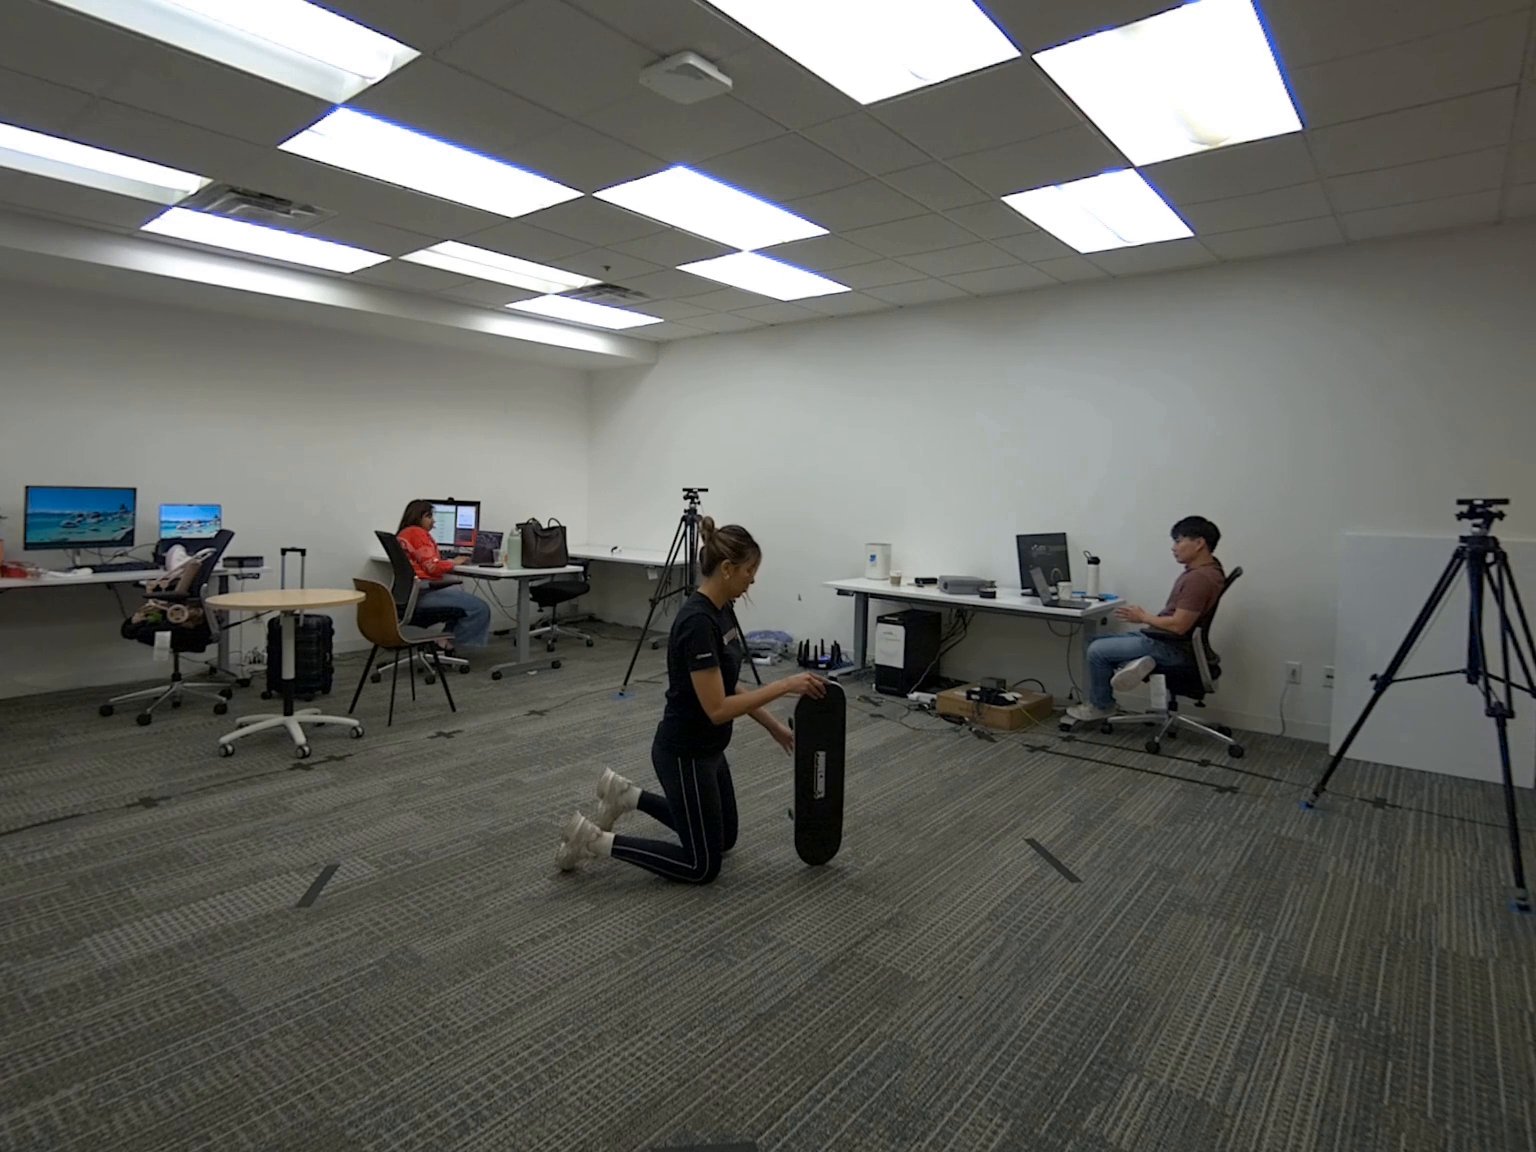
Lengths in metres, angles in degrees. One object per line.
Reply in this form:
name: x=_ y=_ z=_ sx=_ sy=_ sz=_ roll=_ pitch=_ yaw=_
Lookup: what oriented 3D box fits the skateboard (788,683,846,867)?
skateboard: x=0.165 y=0.700 z=3.059 sx=0.191 sy=0.769 sz=0.114 roll=-8 pitch=24 yaw=-15
